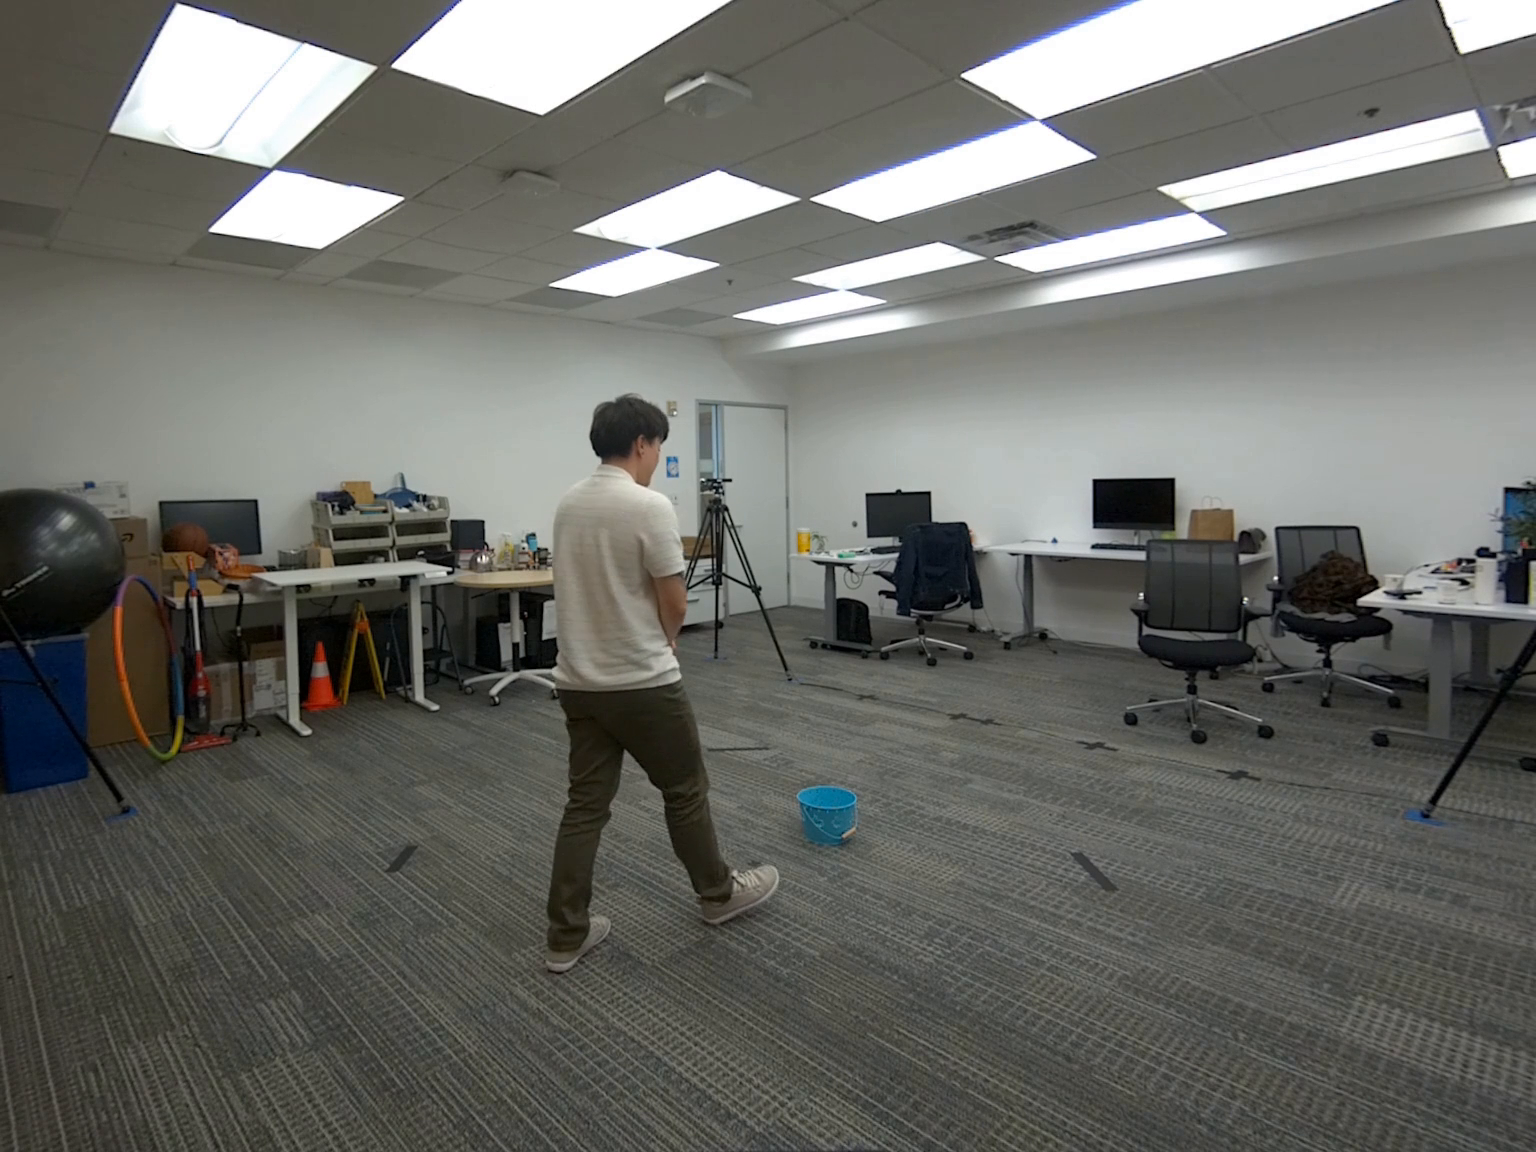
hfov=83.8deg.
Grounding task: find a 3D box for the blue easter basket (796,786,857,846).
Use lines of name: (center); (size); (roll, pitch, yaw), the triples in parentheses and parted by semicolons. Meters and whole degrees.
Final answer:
blue easter basket: (0.233, 0.934, 3.335); (0.243, 0.155, 0.245); (-1, 5, -2)
